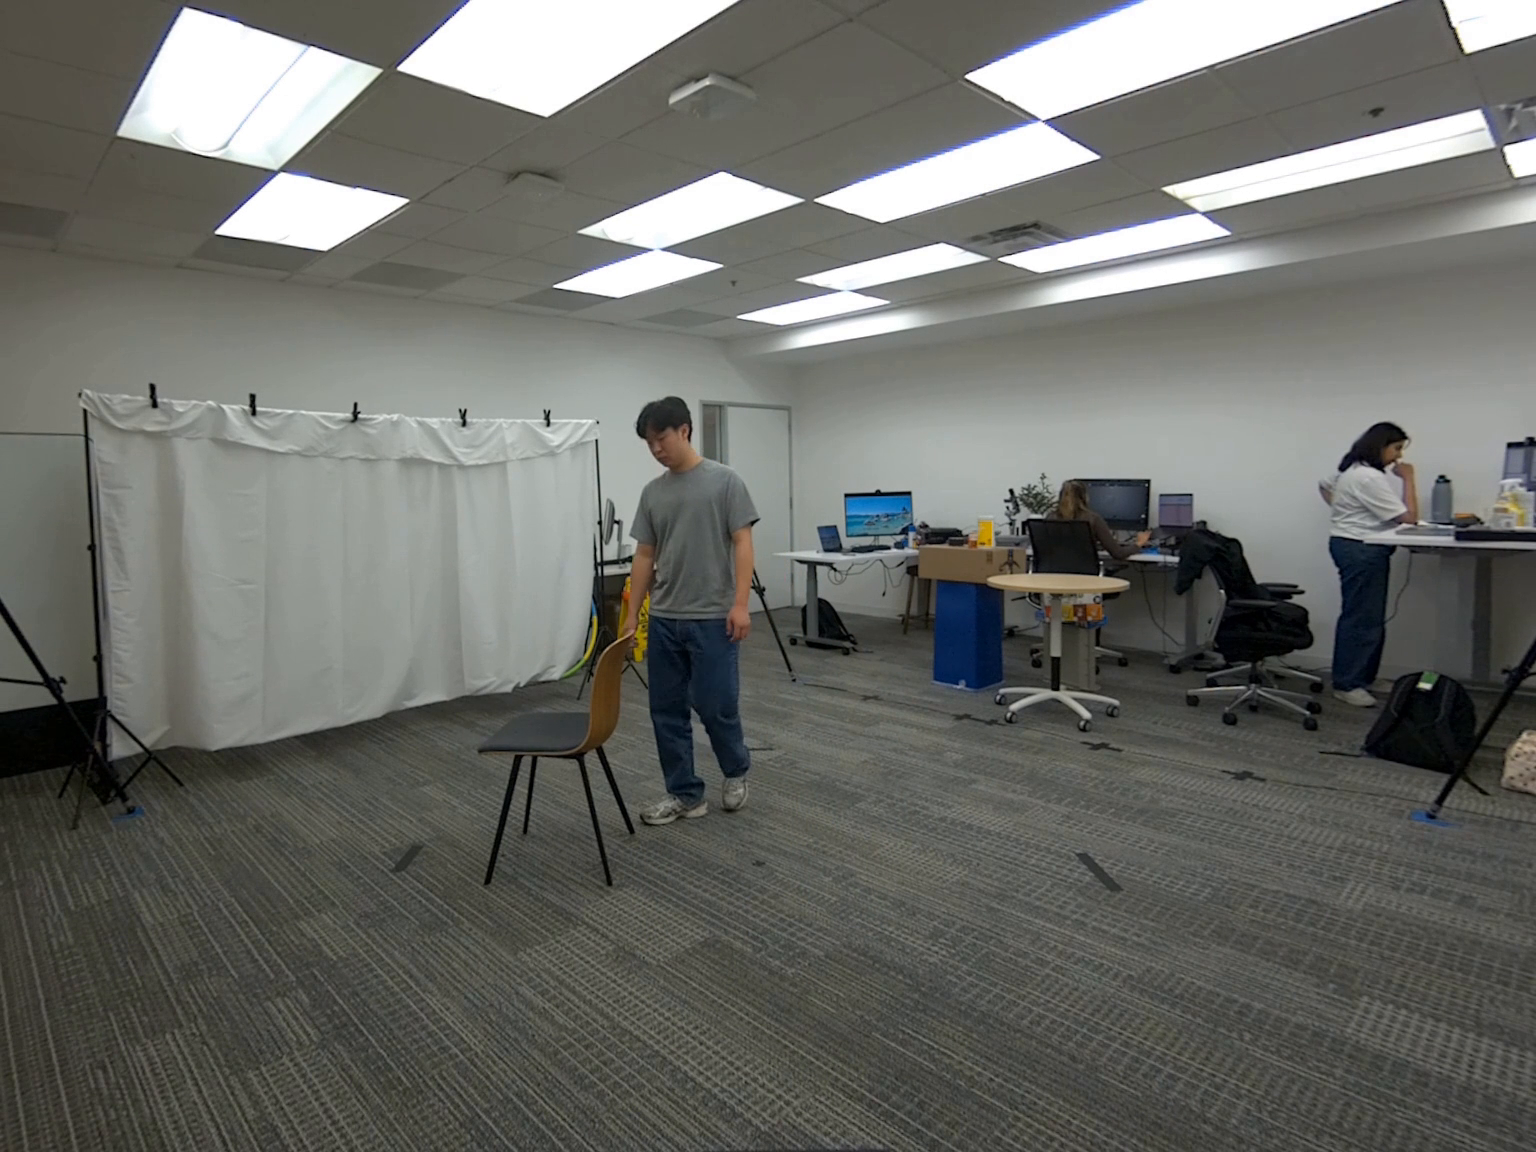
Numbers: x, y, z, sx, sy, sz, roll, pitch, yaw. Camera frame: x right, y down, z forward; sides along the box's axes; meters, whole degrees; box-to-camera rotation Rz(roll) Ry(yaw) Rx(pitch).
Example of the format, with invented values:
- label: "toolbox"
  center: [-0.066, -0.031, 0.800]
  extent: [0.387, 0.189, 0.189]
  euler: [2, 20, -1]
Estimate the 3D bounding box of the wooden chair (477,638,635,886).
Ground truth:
- label: "wooden chair"
  center: [-0.776, 0.635, 3.147]
  extent: [0.525, 0.874, 0.479]
  euler: [2, 5, 2]
